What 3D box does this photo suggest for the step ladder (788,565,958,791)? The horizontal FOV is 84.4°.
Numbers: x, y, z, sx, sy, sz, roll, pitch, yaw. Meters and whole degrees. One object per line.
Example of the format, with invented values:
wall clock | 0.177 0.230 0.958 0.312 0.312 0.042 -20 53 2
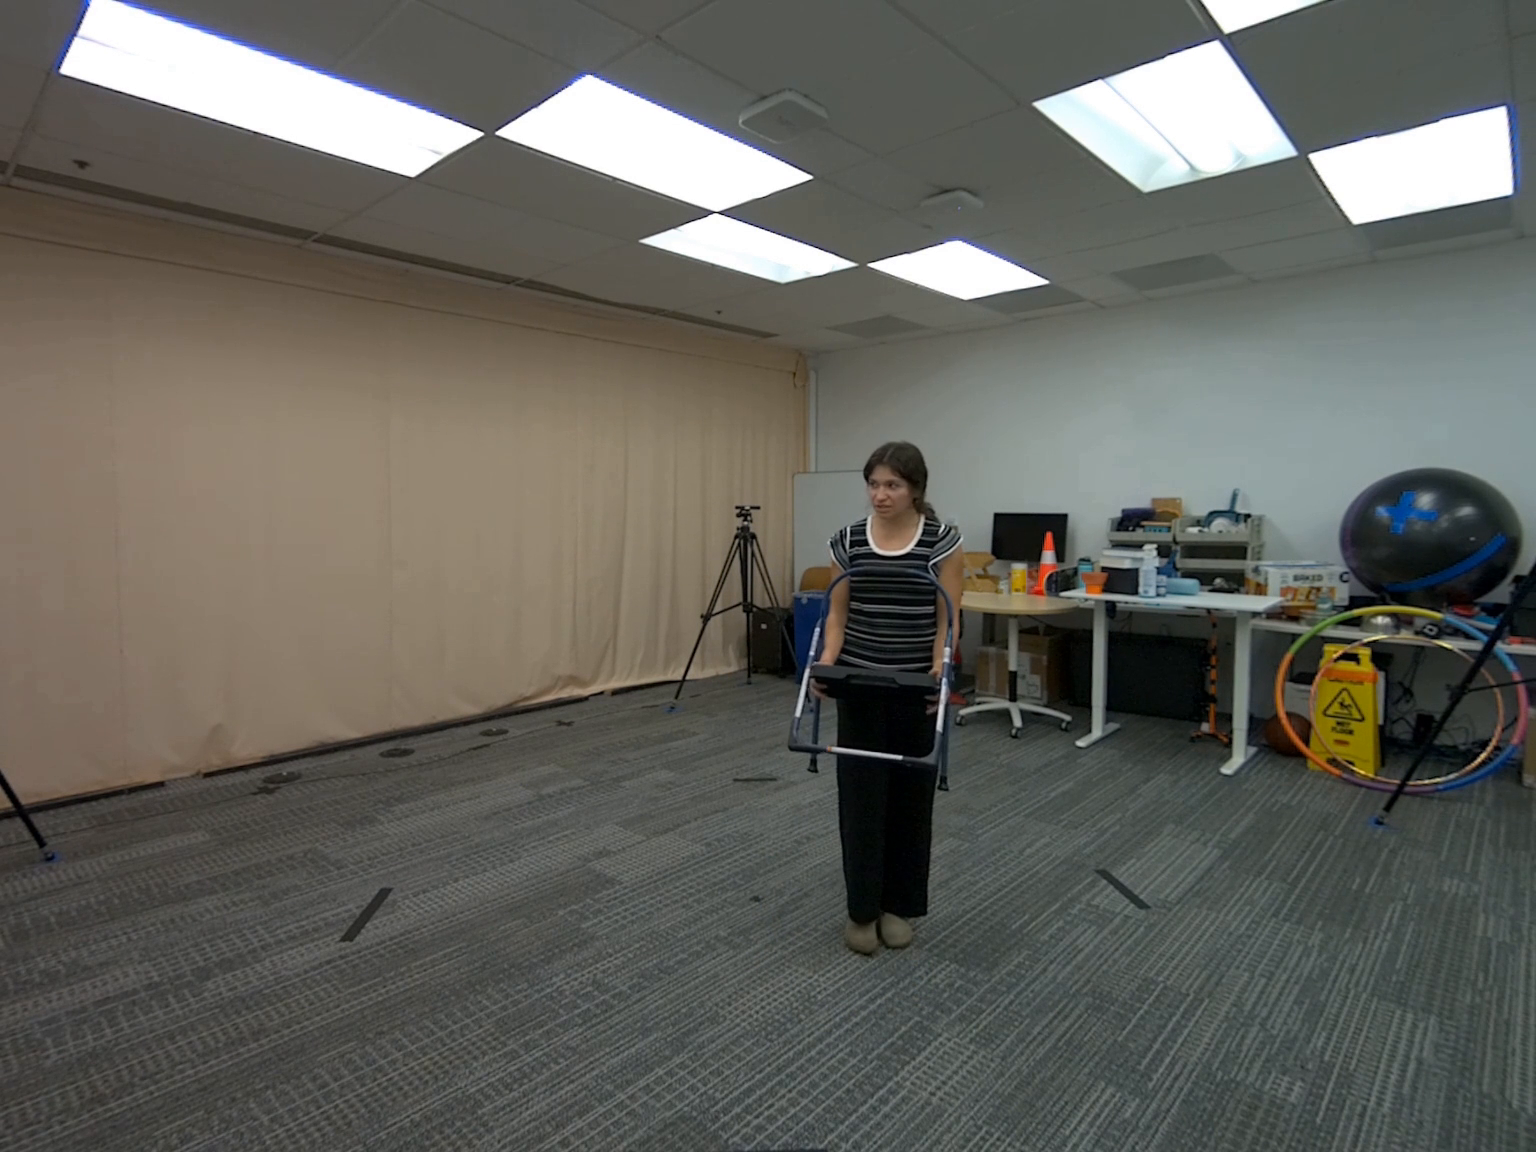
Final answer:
step ladder | 0.342 0.286 2.542 0.439 0.611 0.339 2 -23 18
